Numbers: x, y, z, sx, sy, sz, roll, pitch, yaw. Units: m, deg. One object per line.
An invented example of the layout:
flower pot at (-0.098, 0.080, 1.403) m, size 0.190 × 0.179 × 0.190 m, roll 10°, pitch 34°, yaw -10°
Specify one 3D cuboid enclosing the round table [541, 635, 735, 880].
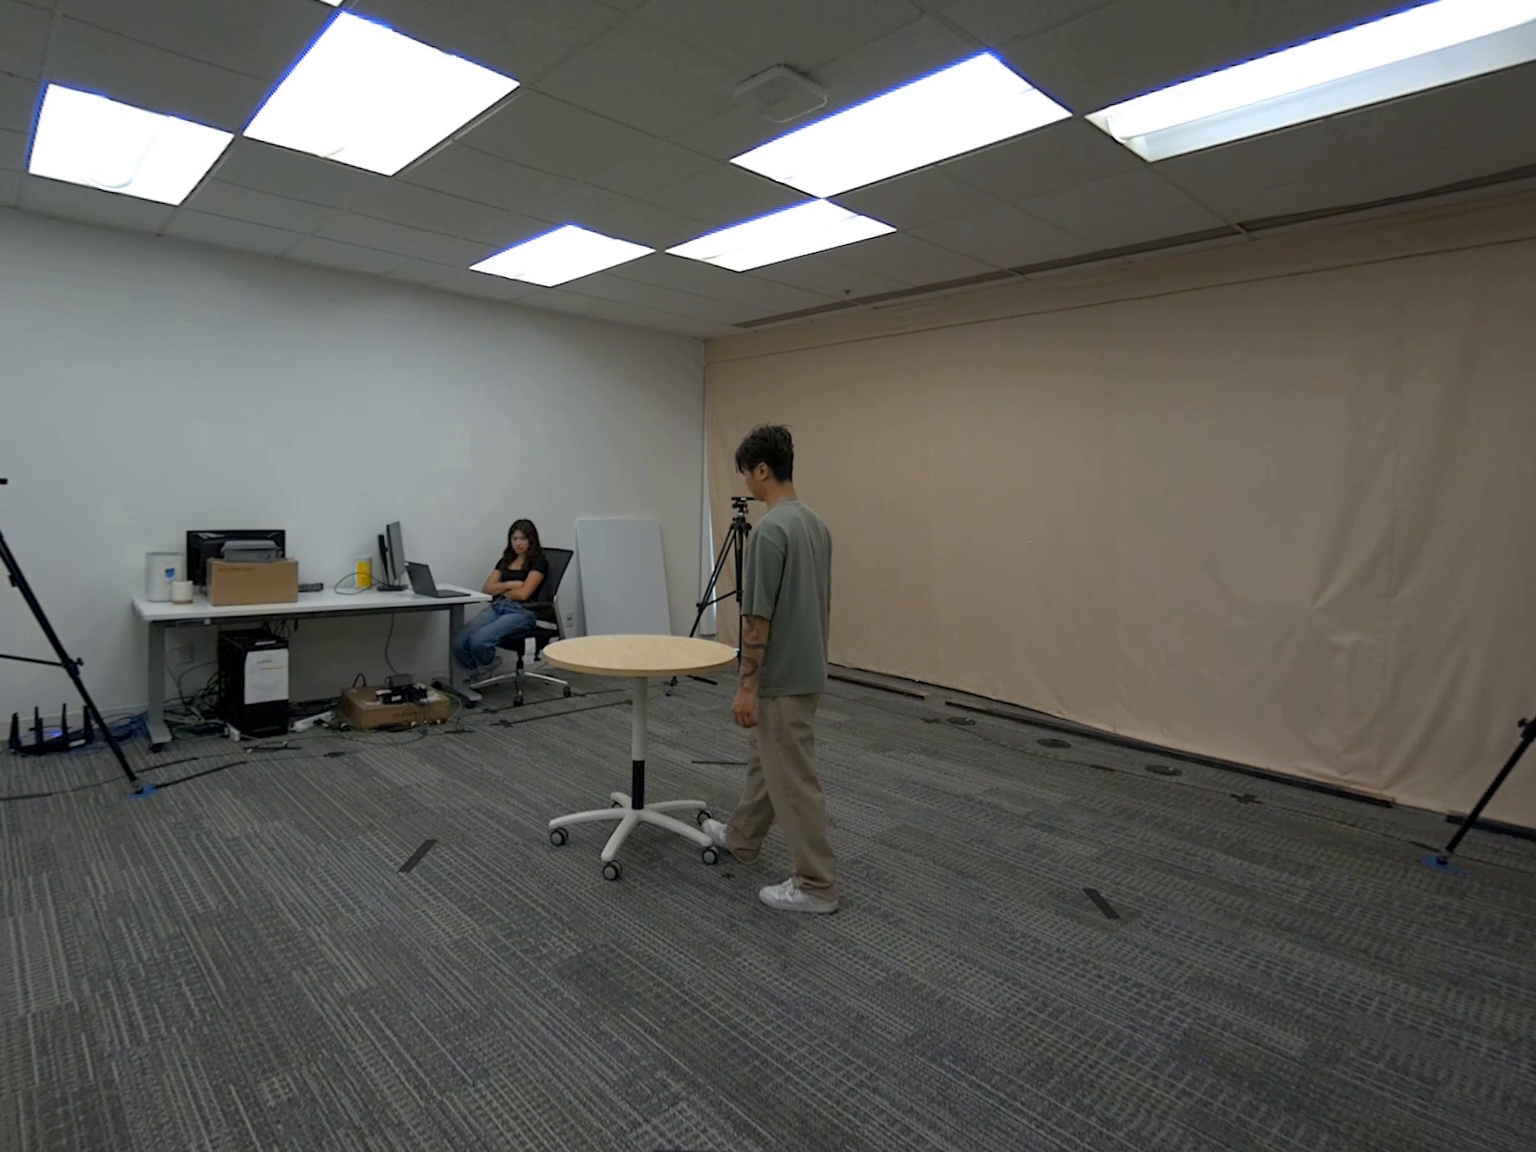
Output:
round table at (-0.526, 0.684, 3.361) m, size 0.784 × 0.785 × 0.787 m, roll 2°, pitch 4°, yaw -1°
